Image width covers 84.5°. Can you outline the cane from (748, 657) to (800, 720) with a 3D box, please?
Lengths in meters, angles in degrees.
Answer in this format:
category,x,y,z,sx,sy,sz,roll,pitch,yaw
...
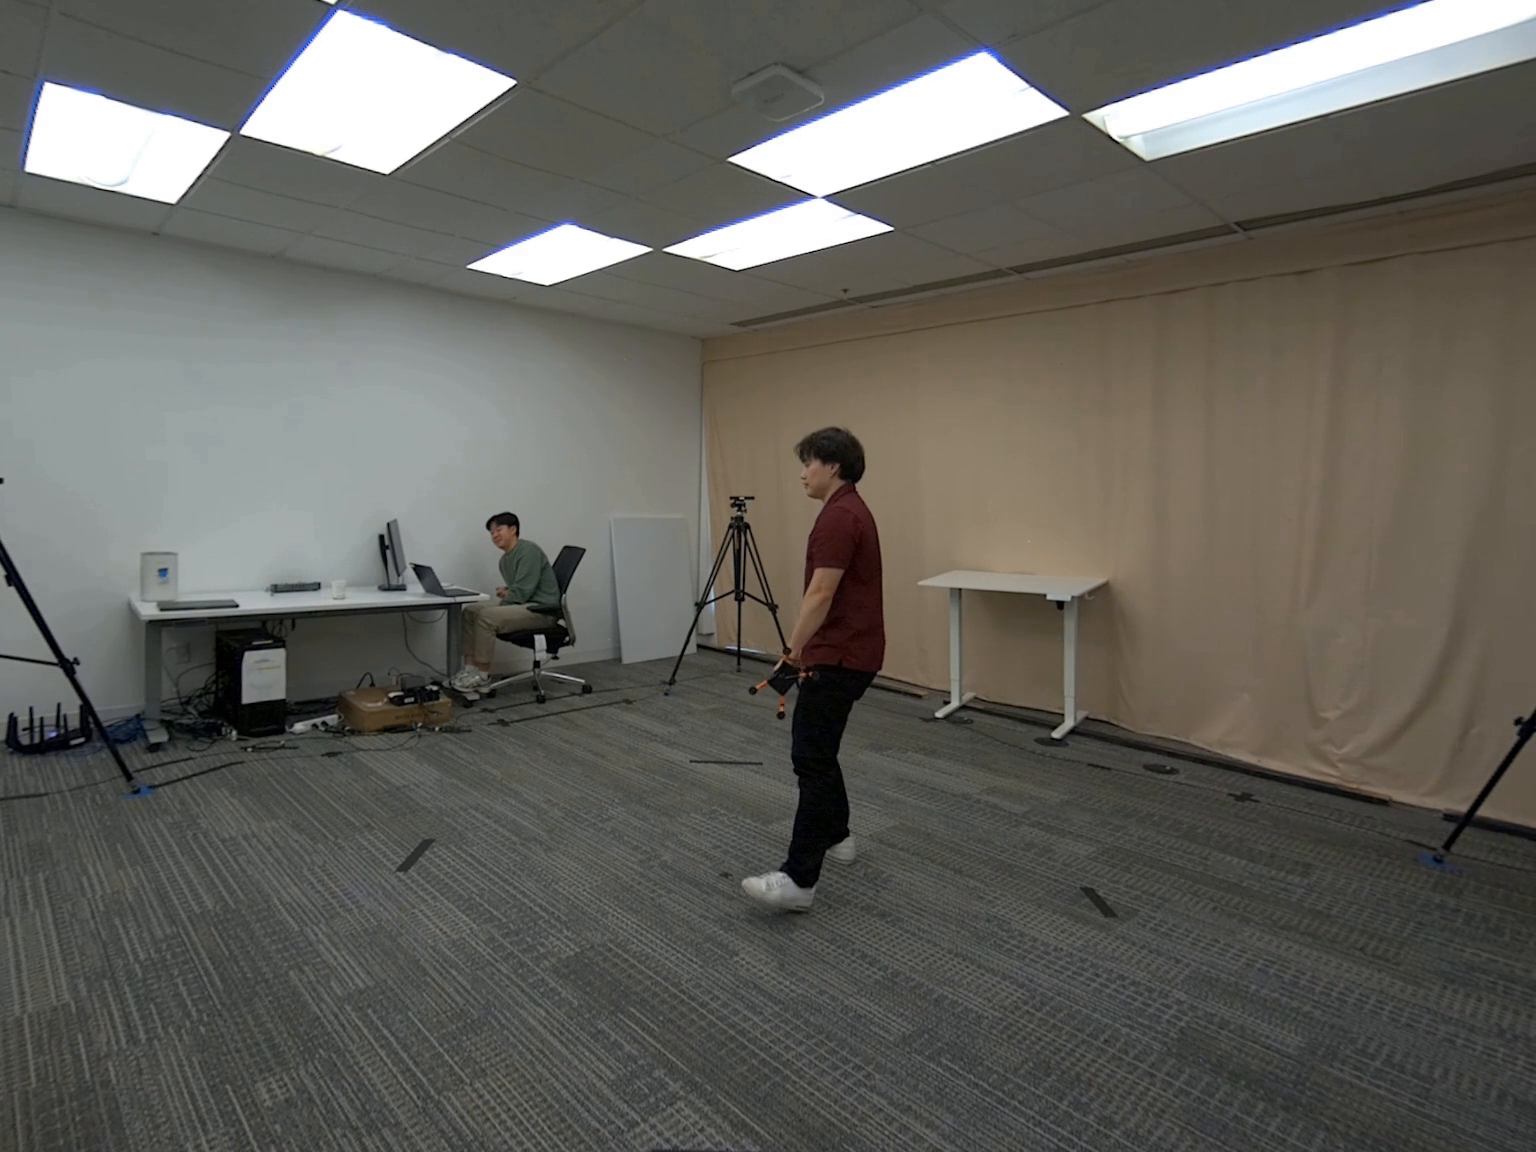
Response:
category,x,y,z,sx,sy,sz,roll,pitch,yaw
cane,0.086,0.358,3.233,0.153,0.206,0.901,39,6,6
